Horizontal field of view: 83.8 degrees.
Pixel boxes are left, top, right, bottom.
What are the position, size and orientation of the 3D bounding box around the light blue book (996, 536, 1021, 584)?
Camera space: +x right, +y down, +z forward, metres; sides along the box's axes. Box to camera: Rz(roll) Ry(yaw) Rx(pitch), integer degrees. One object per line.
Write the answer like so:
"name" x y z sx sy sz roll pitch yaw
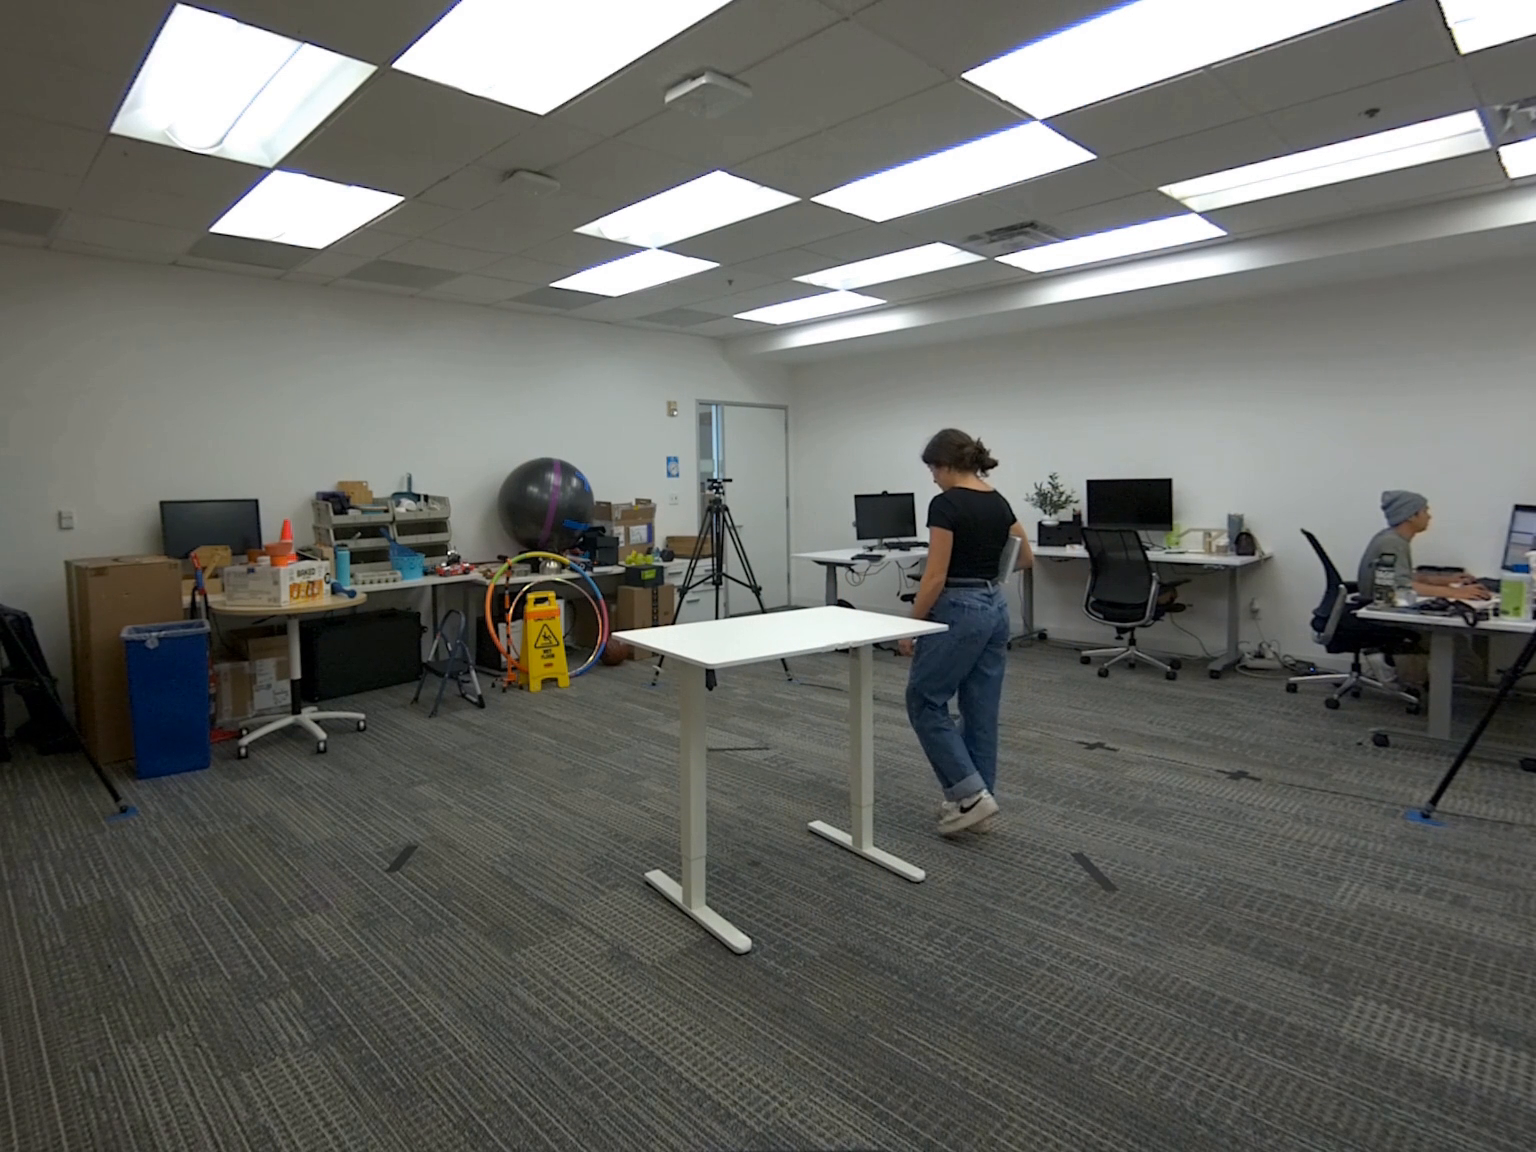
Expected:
"light blue book" 0.874 -0.106 3.460 0.270 0.189 0.058 25 20 32
